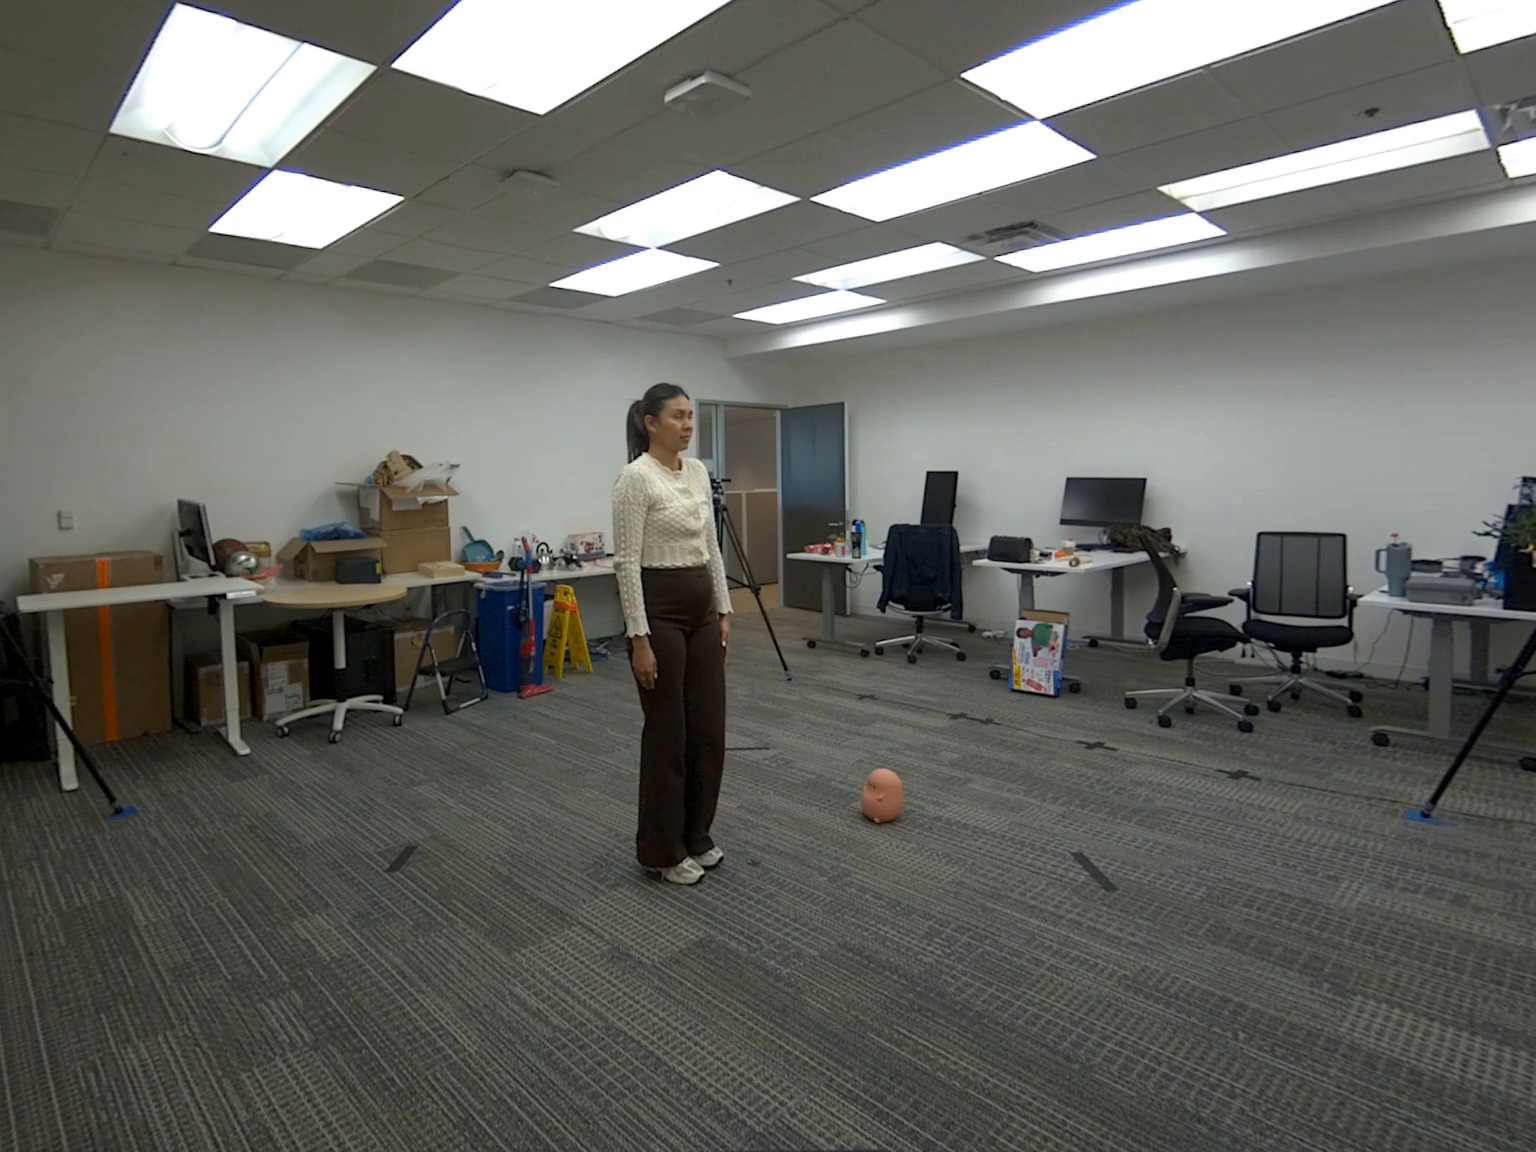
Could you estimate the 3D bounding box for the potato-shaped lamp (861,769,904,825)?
[{"bbox_3d":[0.472,0.892,3.499,0.168,0.198,0.168,-1,3,-22],"label":"potato-shaped lamp"}]
